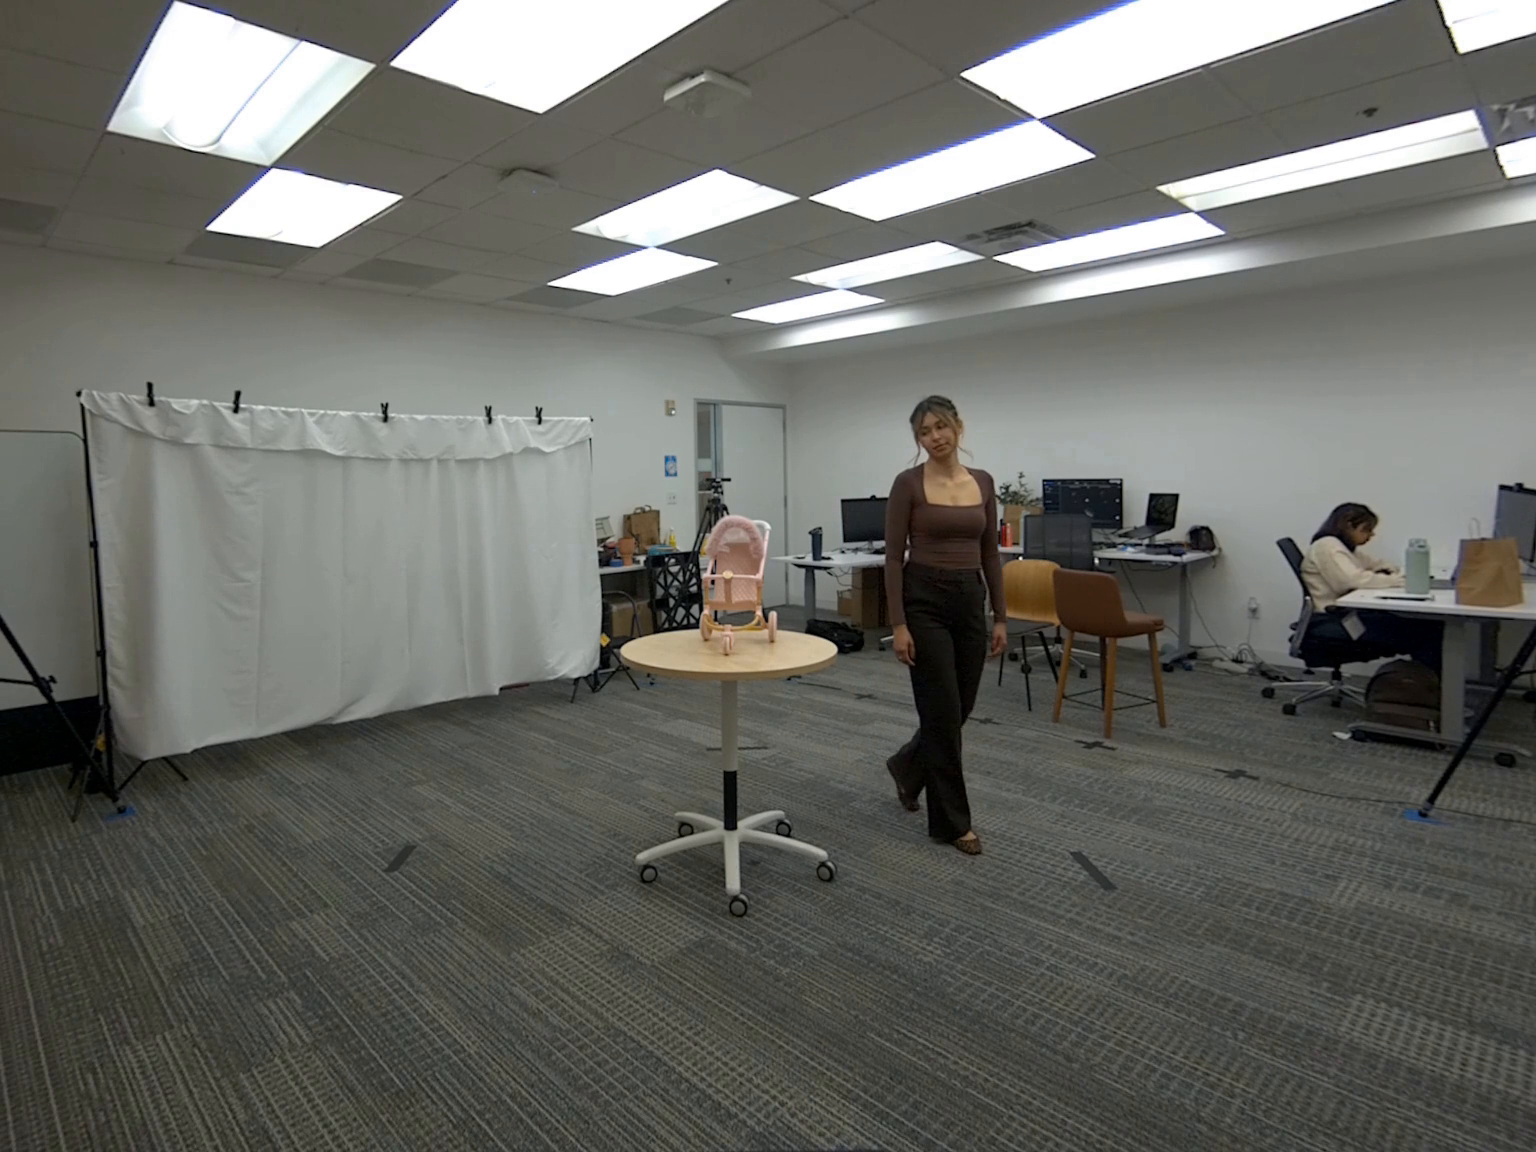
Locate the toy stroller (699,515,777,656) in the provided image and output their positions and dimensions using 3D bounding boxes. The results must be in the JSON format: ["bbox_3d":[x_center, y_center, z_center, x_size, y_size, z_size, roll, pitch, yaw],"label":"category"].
[{"bbox_3d":[-0.115,0.024,3.076,0.285,0.540,0.333,0,-11,12],"label":"toy stroller"}]
